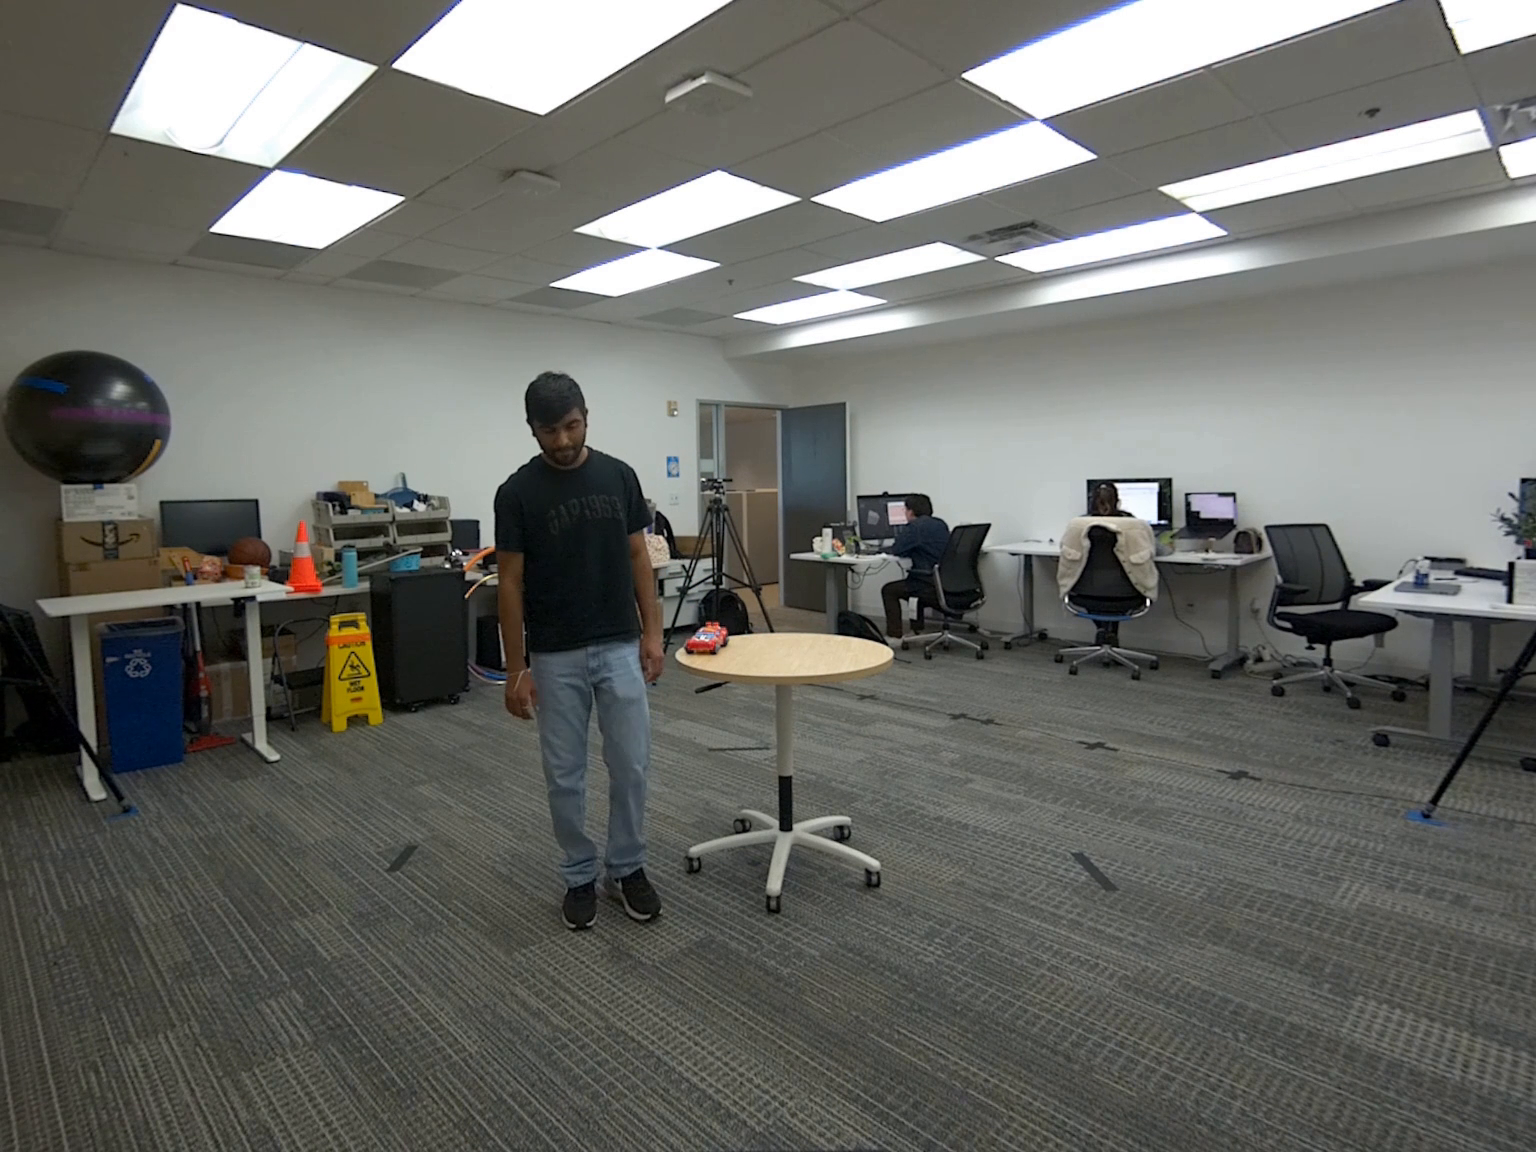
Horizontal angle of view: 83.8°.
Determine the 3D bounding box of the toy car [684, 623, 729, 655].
[{"bbox_3d":[-0.212,0.231,3.112,0.132,0.082,0.255,-1,17,11],"label":"toy car"}]
